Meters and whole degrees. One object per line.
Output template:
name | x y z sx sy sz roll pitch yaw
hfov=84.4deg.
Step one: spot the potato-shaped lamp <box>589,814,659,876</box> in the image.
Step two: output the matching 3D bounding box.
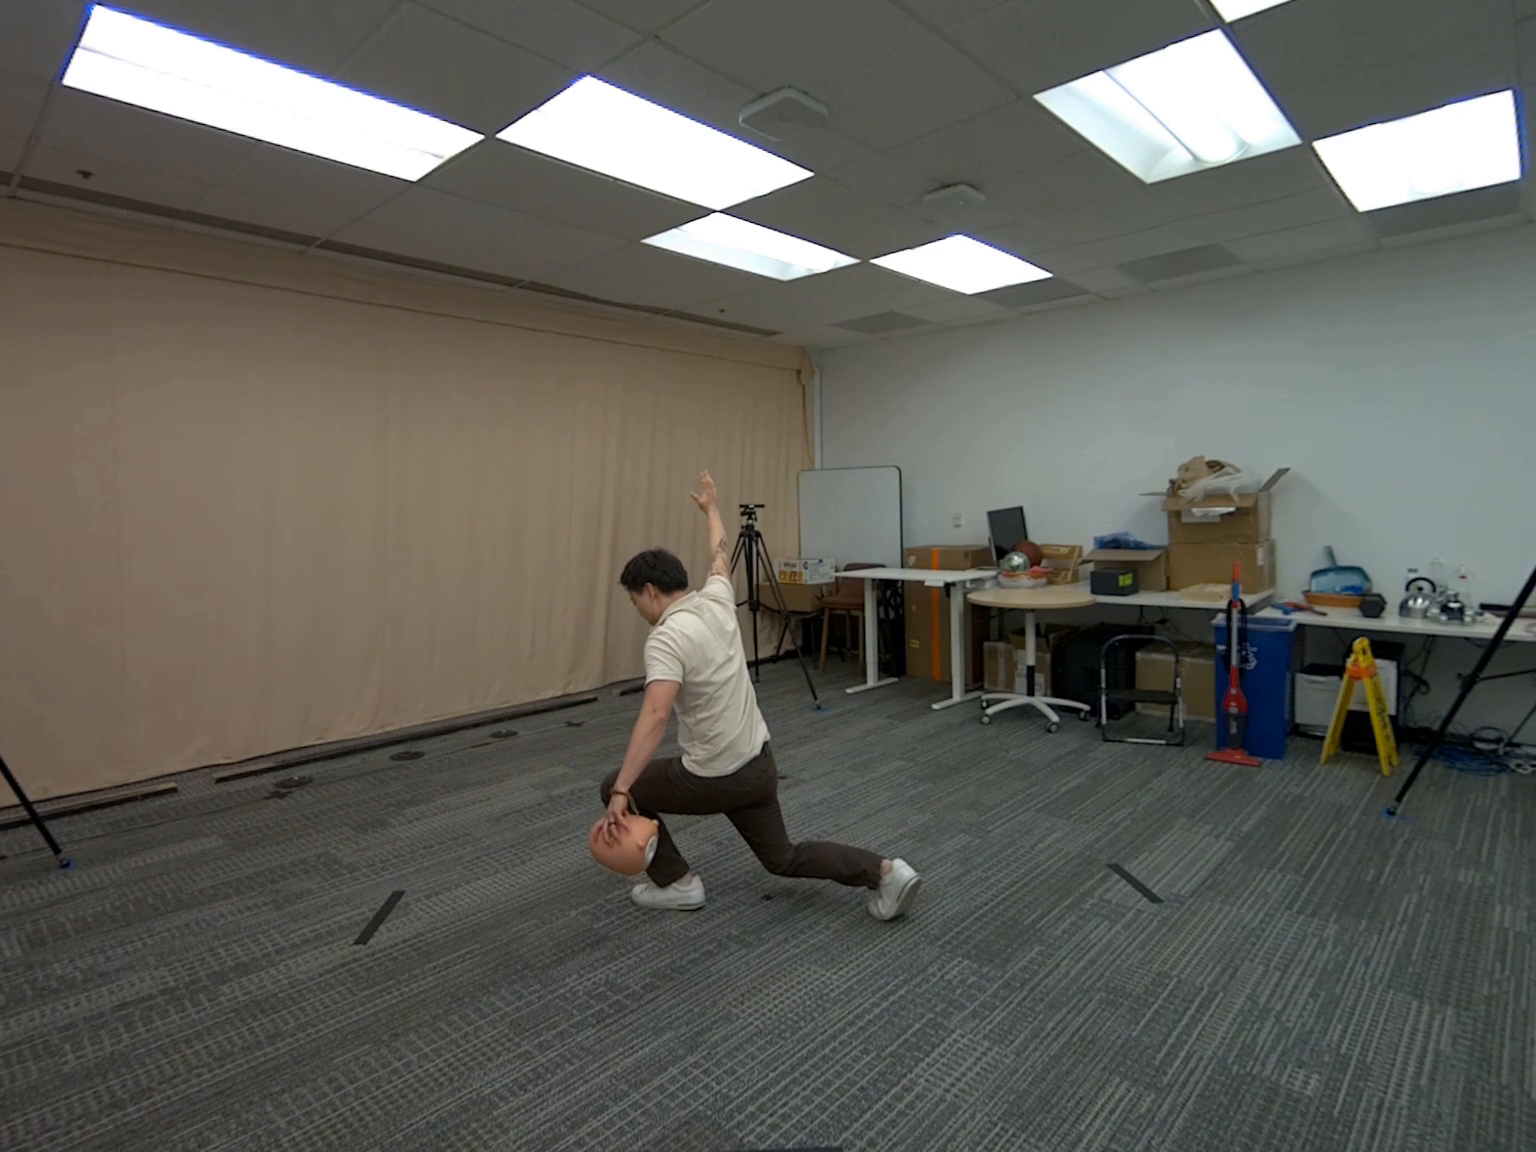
potato-shaped lamp | -0.436 0.795 2.511 0.202 0.169 0.164 11 26 16
